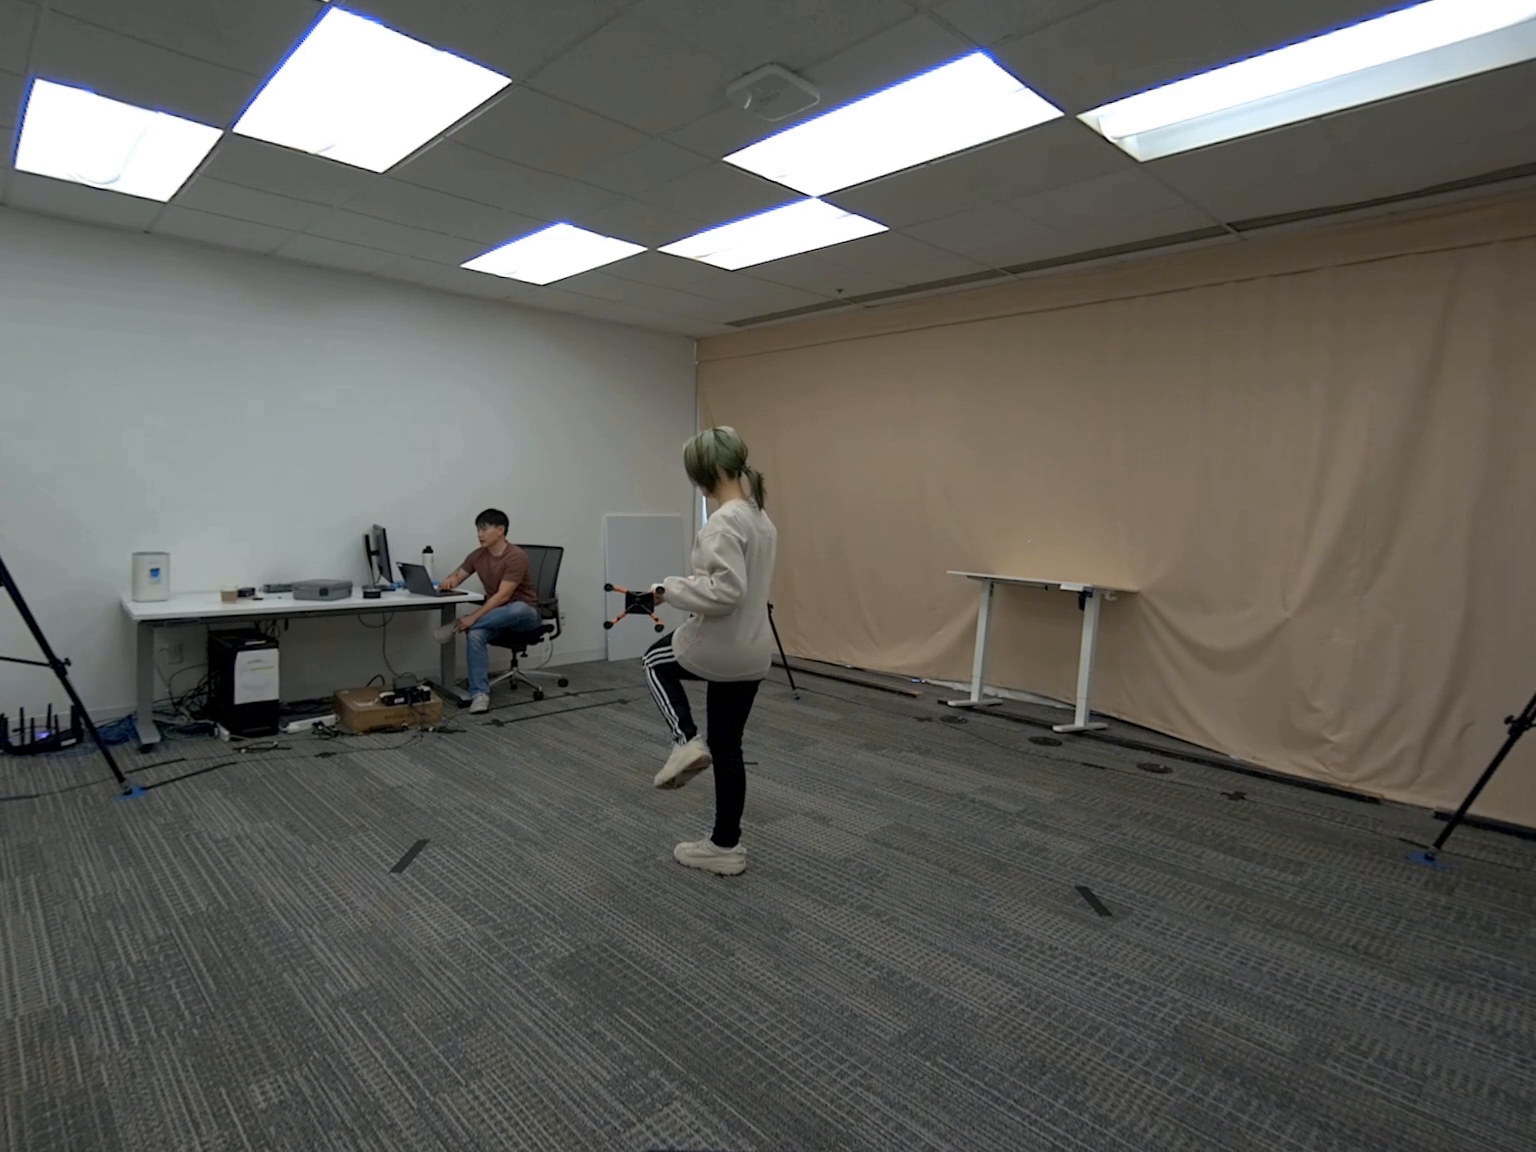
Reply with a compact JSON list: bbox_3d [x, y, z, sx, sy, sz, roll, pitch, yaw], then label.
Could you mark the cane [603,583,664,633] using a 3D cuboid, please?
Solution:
[{"bbox_3d":[-0.399,0.076,3.175,0.208,0.151,0.903,3,5,7],"label":"cane"}]
